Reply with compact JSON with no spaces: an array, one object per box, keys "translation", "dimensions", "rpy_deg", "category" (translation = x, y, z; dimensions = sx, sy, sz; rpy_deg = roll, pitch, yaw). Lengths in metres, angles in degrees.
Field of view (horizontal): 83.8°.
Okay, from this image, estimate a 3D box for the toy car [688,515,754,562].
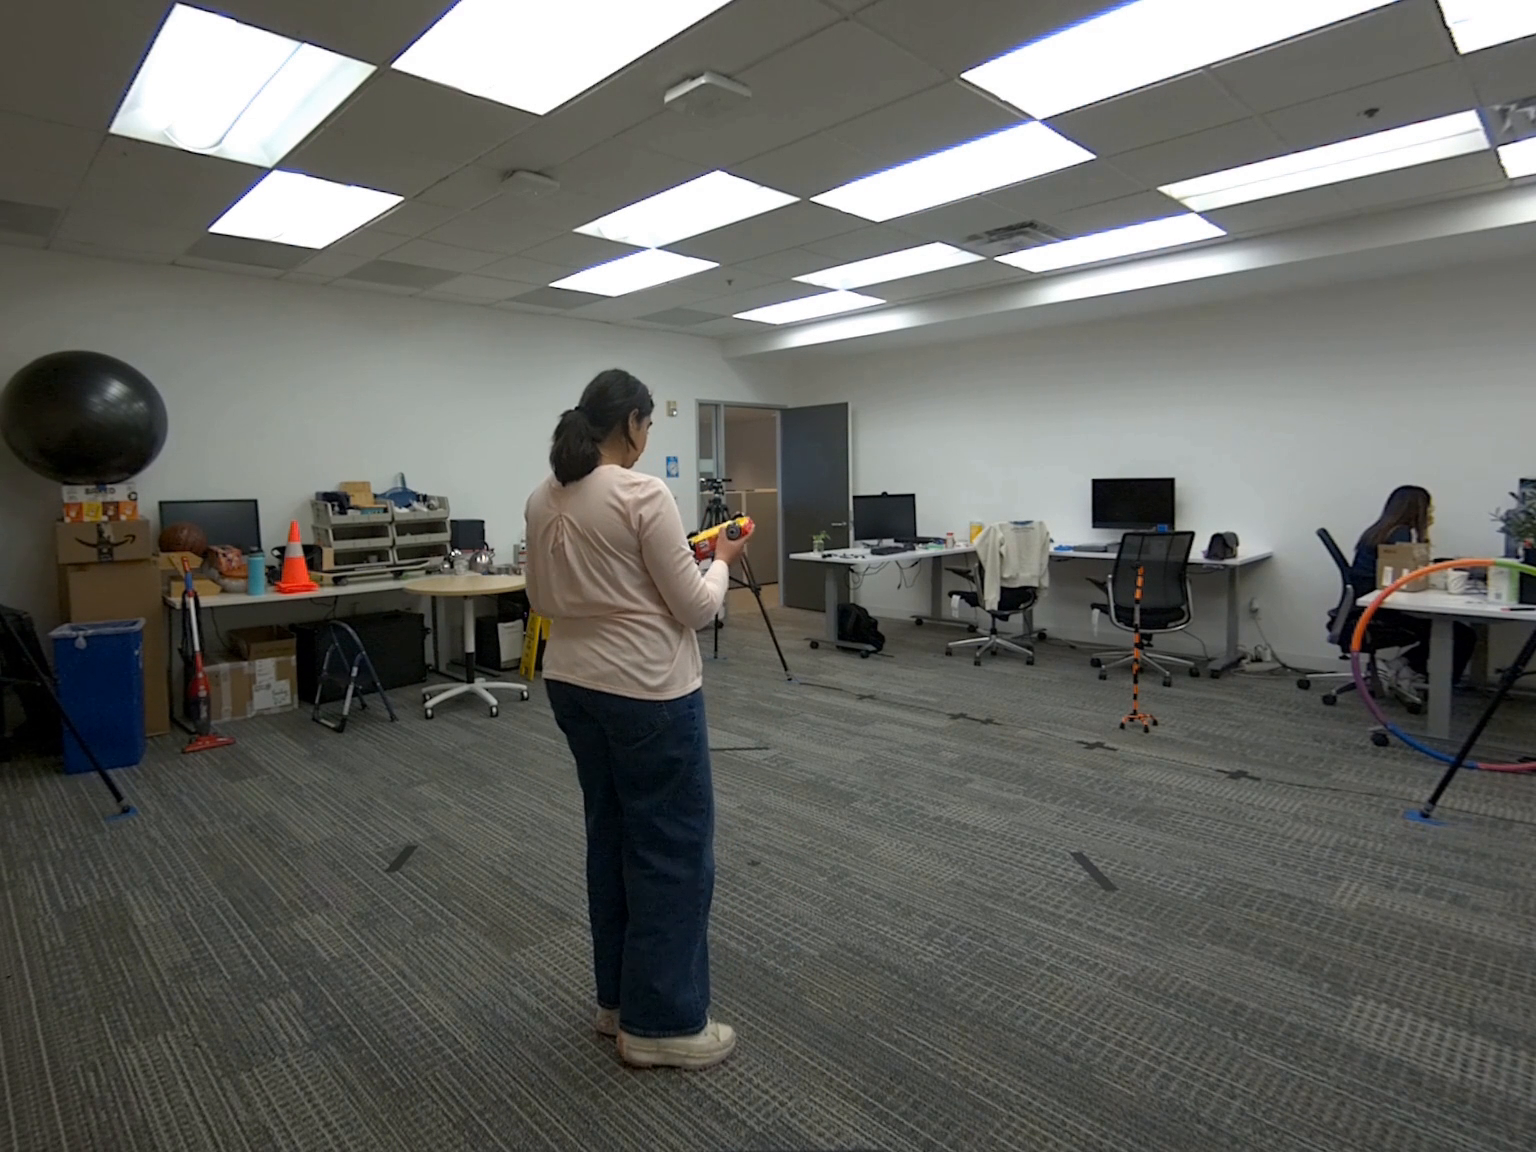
[{"translation":[-0.164,-0.096,2.379],"dimensions":[0.256,0.082,0.131],"rpy_deg":[-31,15,20],"category":"toy car"}]
